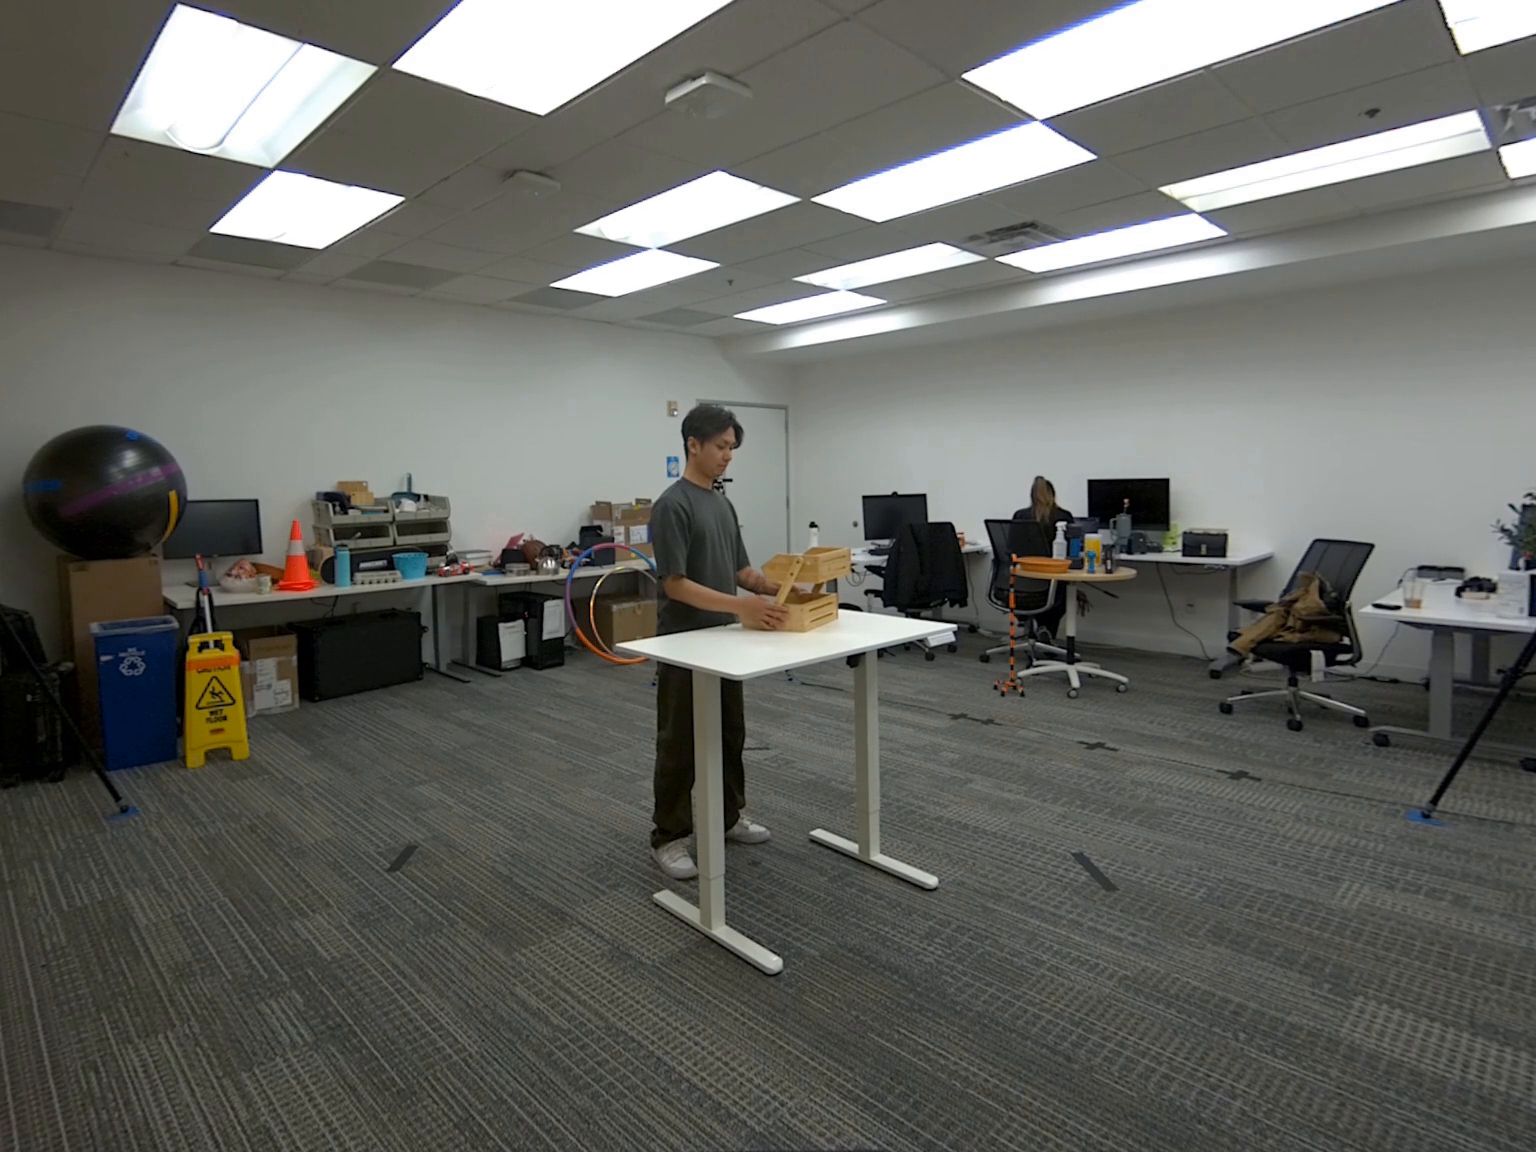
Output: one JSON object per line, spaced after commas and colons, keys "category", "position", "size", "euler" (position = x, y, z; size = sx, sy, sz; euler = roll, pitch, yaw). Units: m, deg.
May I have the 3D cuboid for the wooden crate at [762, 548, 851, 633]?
{"category": "wooden crate", "position": [0.098, 0.038, 3.008], "size": [0.310, 0.272, 0.318], "euler": [2, 6, 28]}
